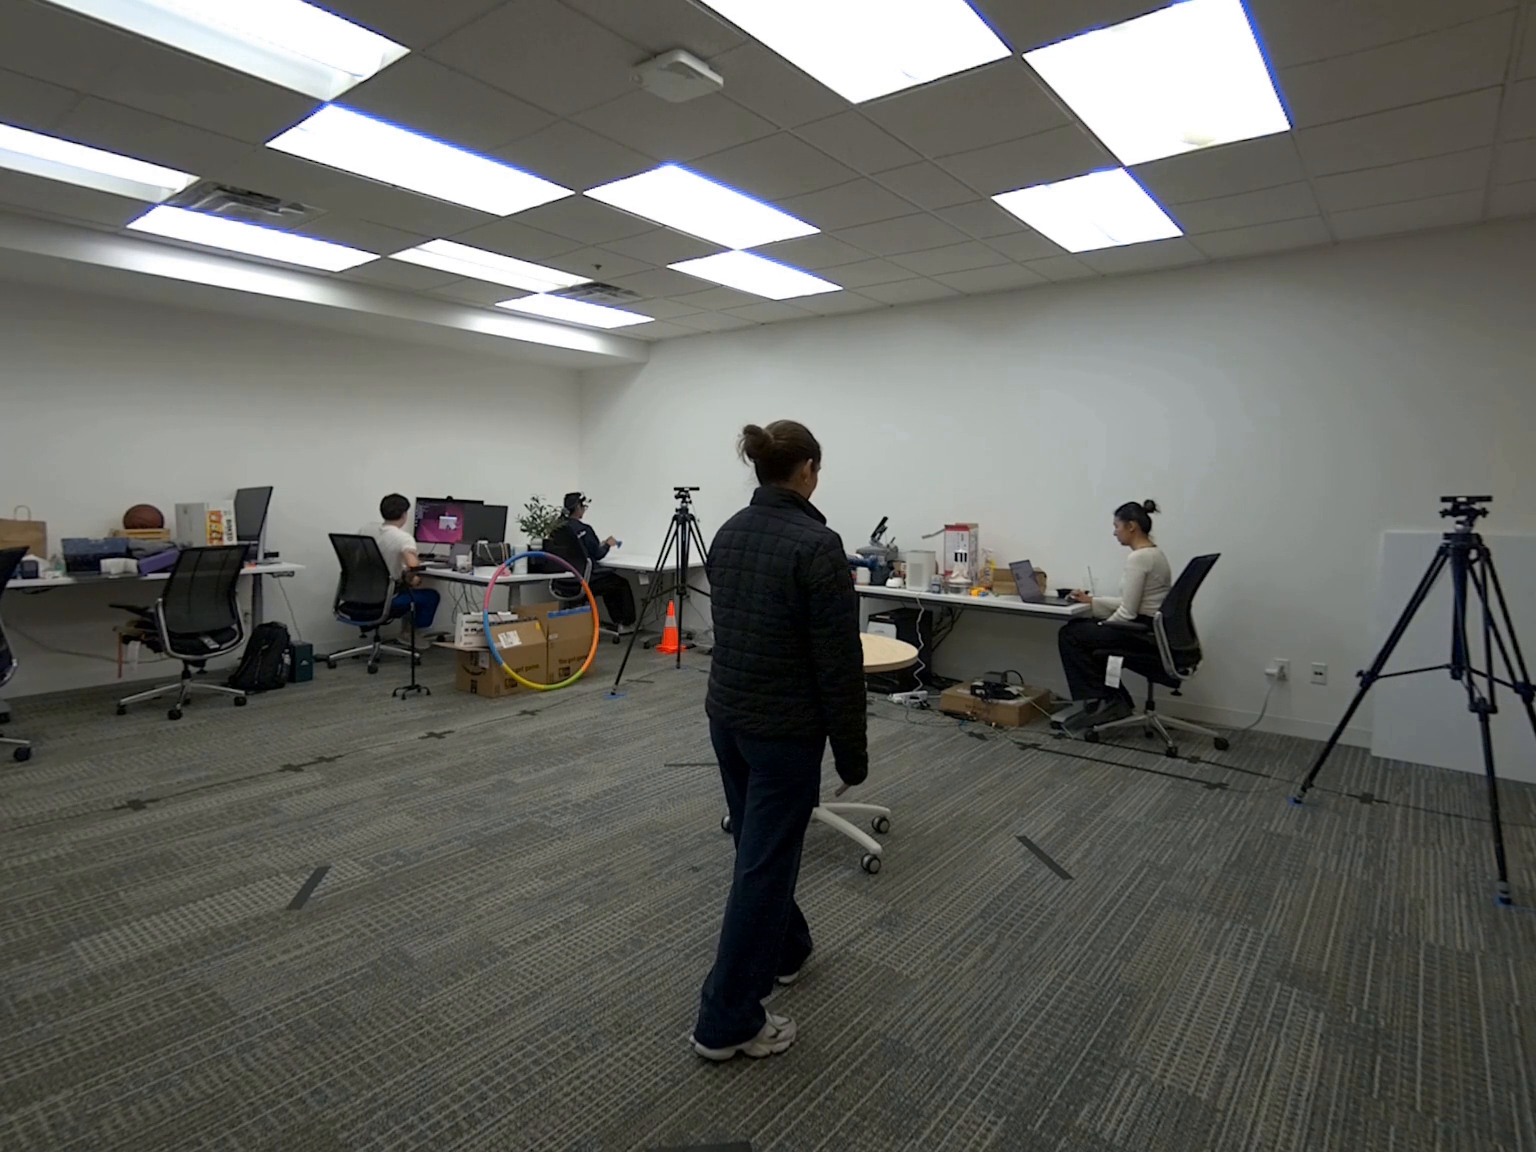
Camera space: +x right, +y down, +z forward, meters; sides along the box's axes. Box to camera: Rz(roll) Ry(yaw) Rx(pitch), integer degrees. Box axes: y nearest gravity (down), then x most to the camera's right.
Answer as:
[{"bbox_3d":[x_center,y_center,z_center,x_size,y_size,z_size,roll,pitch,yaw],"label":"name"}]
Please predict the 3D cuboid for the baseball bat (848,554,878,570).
[{"bbox_3d":[0.103,-0.067,2.627,0.559,0.089,0.087,7,6,28],"label":"baseball bat"}]
